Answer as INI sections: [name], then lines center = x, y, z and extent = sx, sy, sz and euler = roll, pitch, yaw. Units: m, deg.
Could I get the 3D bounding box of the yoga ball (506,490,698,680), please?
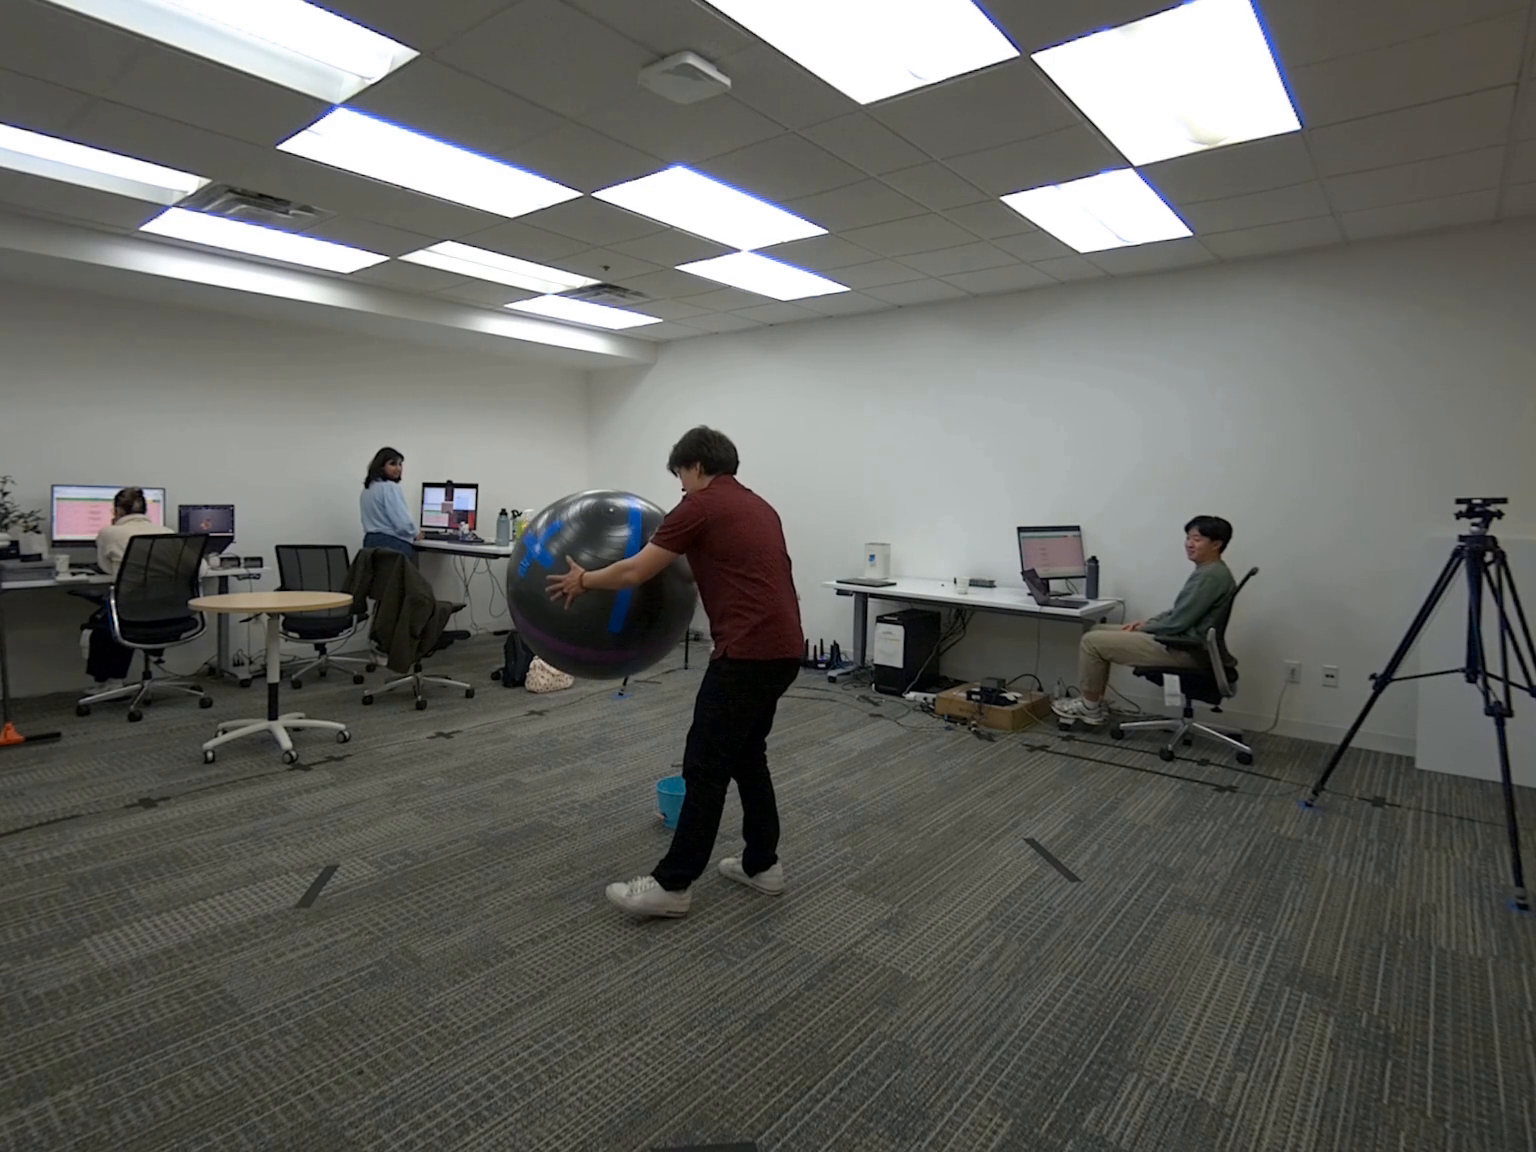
[yoga ball]
center = -0.667, 0.037, 3.394
extent = 0.757, 0.755, 0.762
euler = 1, 4, -2
